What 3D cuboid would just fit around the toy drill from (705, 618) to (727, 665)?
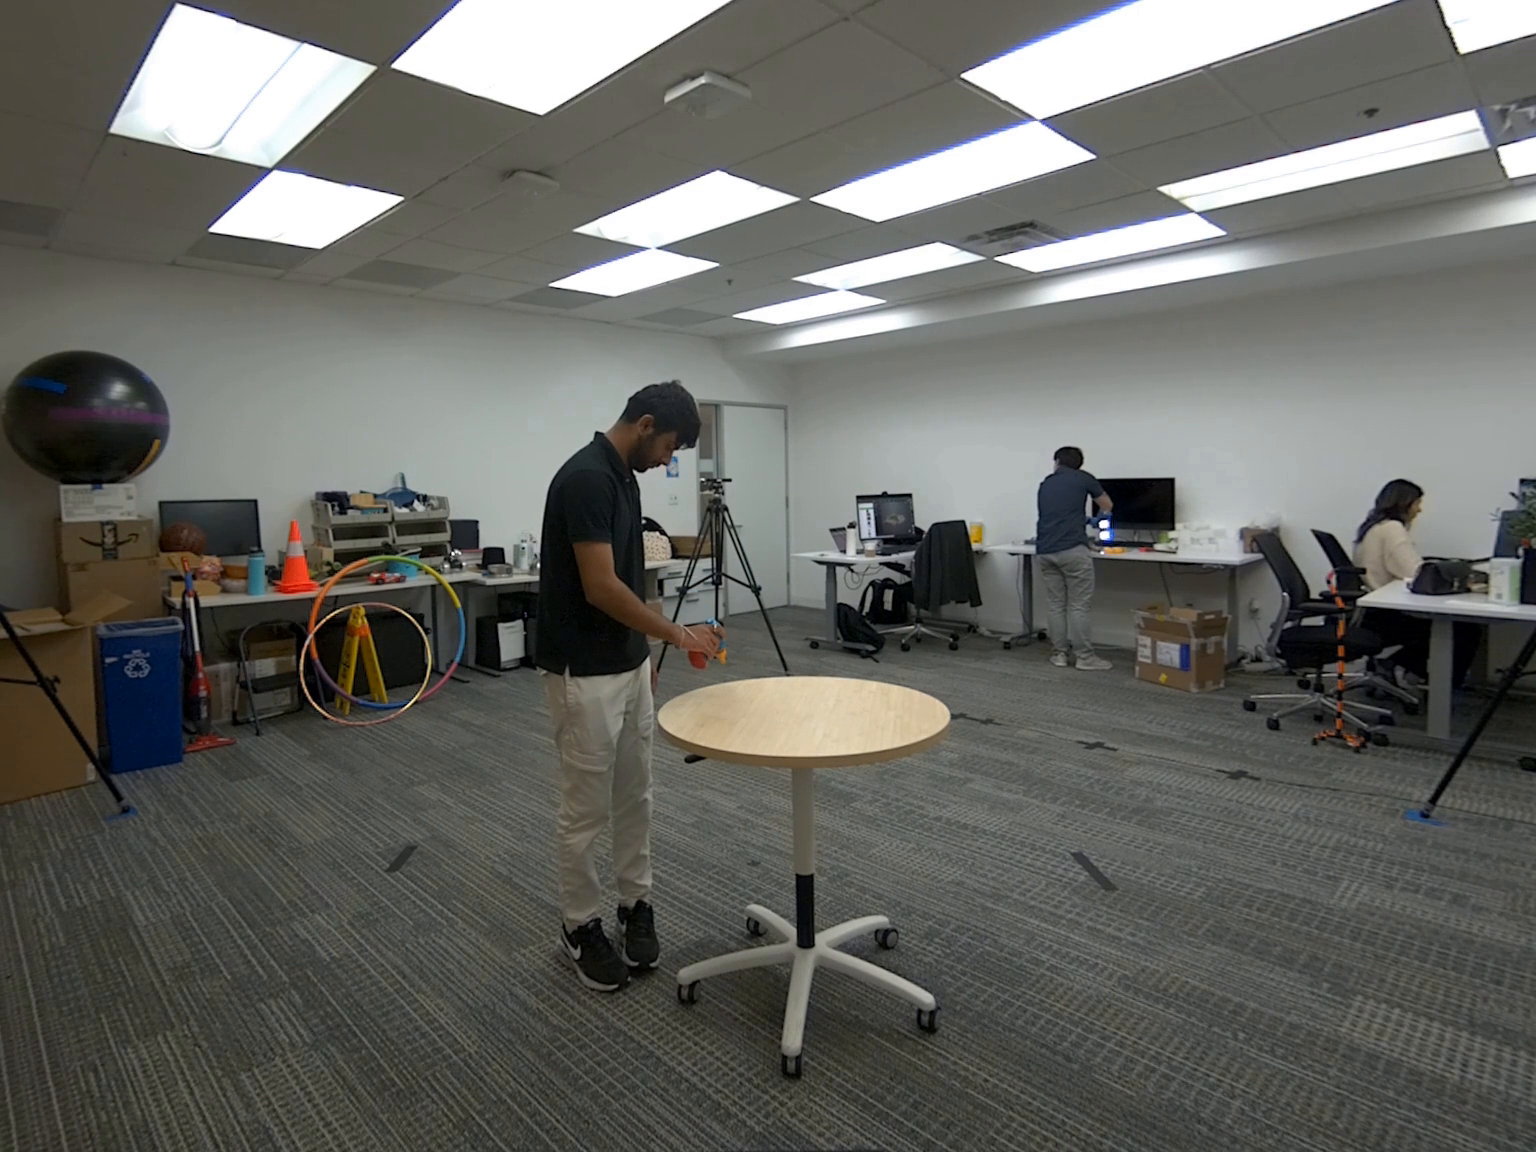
[{"bbox_3d":[-0.190,0.205,2.451,0.145,0.165,0.063,-20,33,-15],"label":"toy drill"}]
